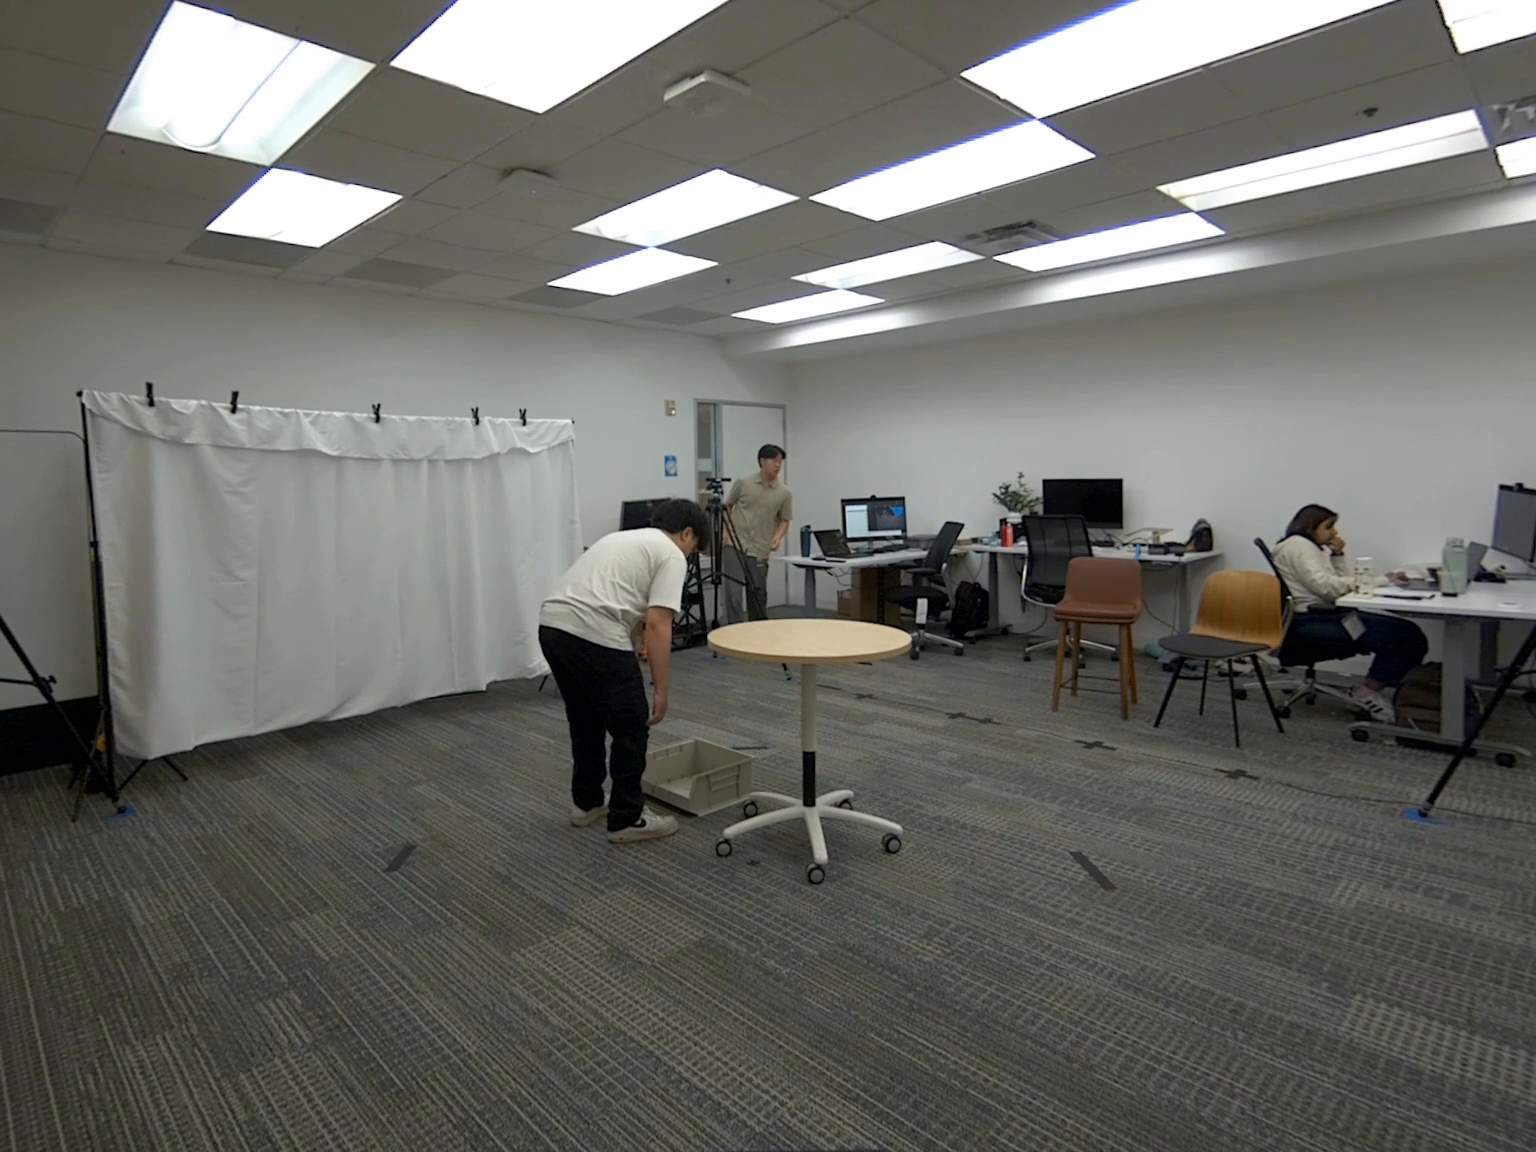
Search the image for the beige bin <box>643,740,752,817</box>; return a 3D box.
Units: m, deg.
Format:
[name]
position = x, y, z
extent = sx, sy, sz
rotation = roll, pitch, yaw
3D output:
[beige bin]
position = -0.331, 0.883, 3.776
extent = 0.367, 0.188, 0.435
rotation = -5, 7, -43
